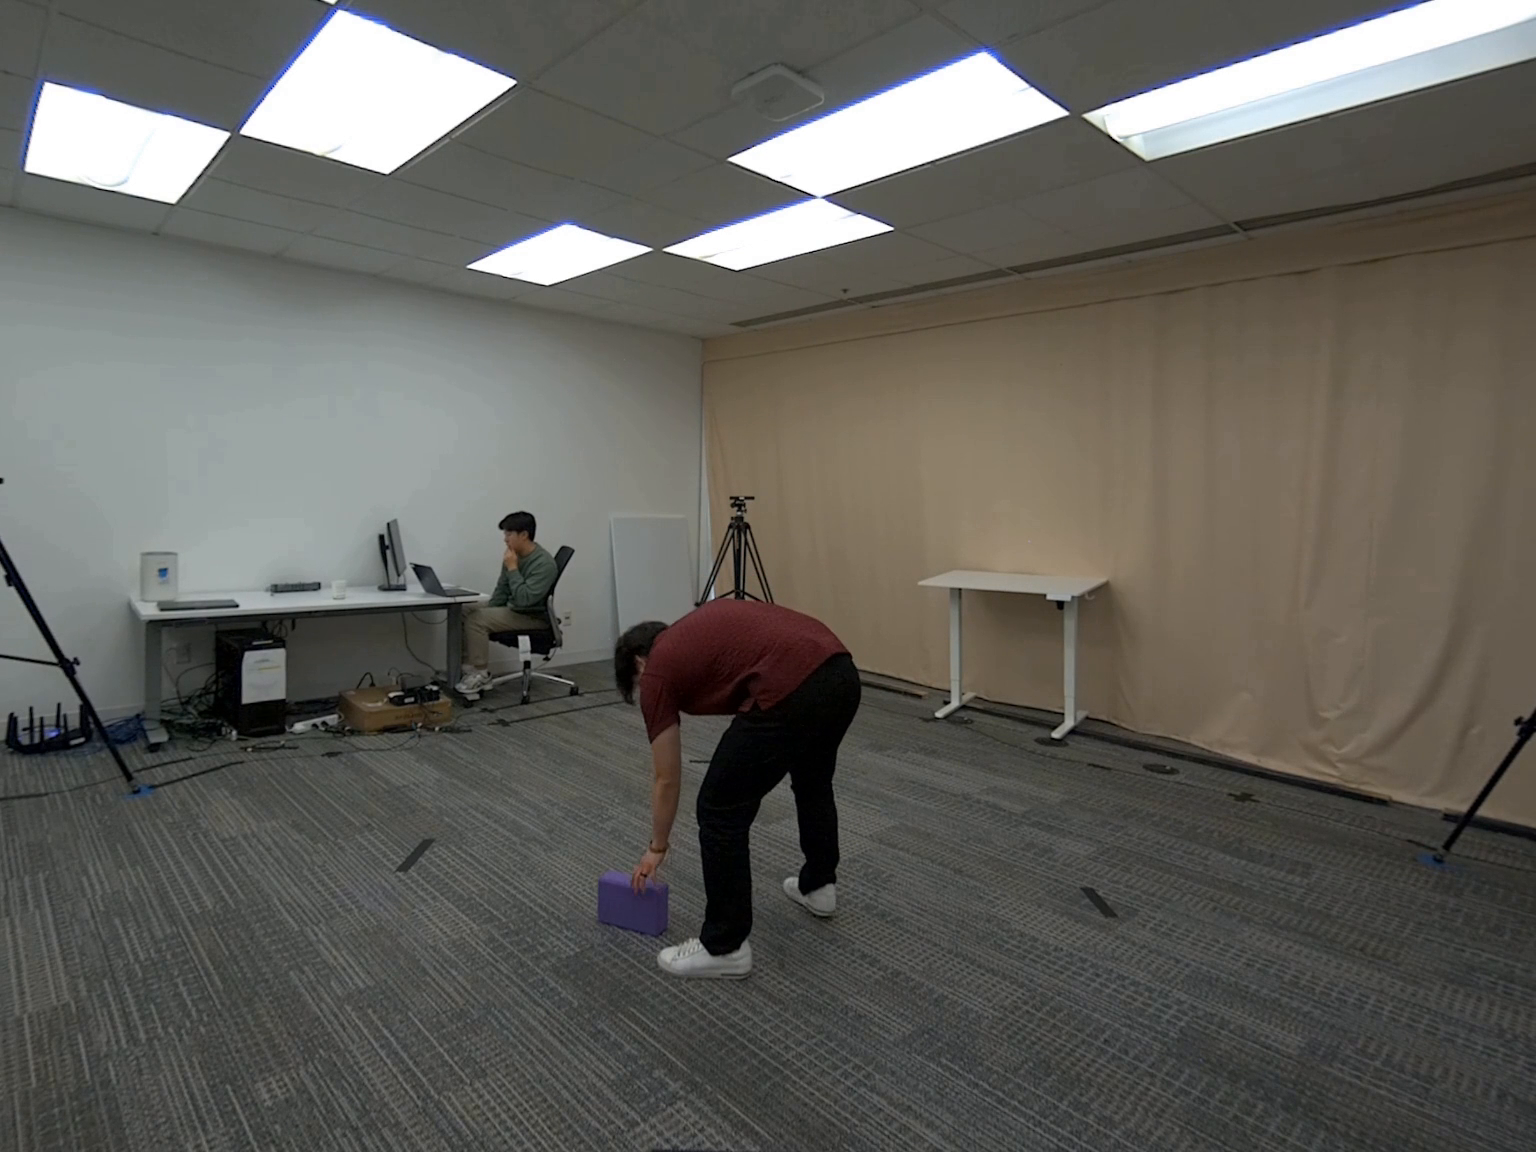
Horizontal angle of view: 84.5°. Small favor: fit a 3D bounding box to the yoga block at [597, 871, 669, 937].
[{"bbox_3d":[-0.442,1.054,2.719,0.233,0.148,0.075,3,4,21],"label":"yoga block"}]
